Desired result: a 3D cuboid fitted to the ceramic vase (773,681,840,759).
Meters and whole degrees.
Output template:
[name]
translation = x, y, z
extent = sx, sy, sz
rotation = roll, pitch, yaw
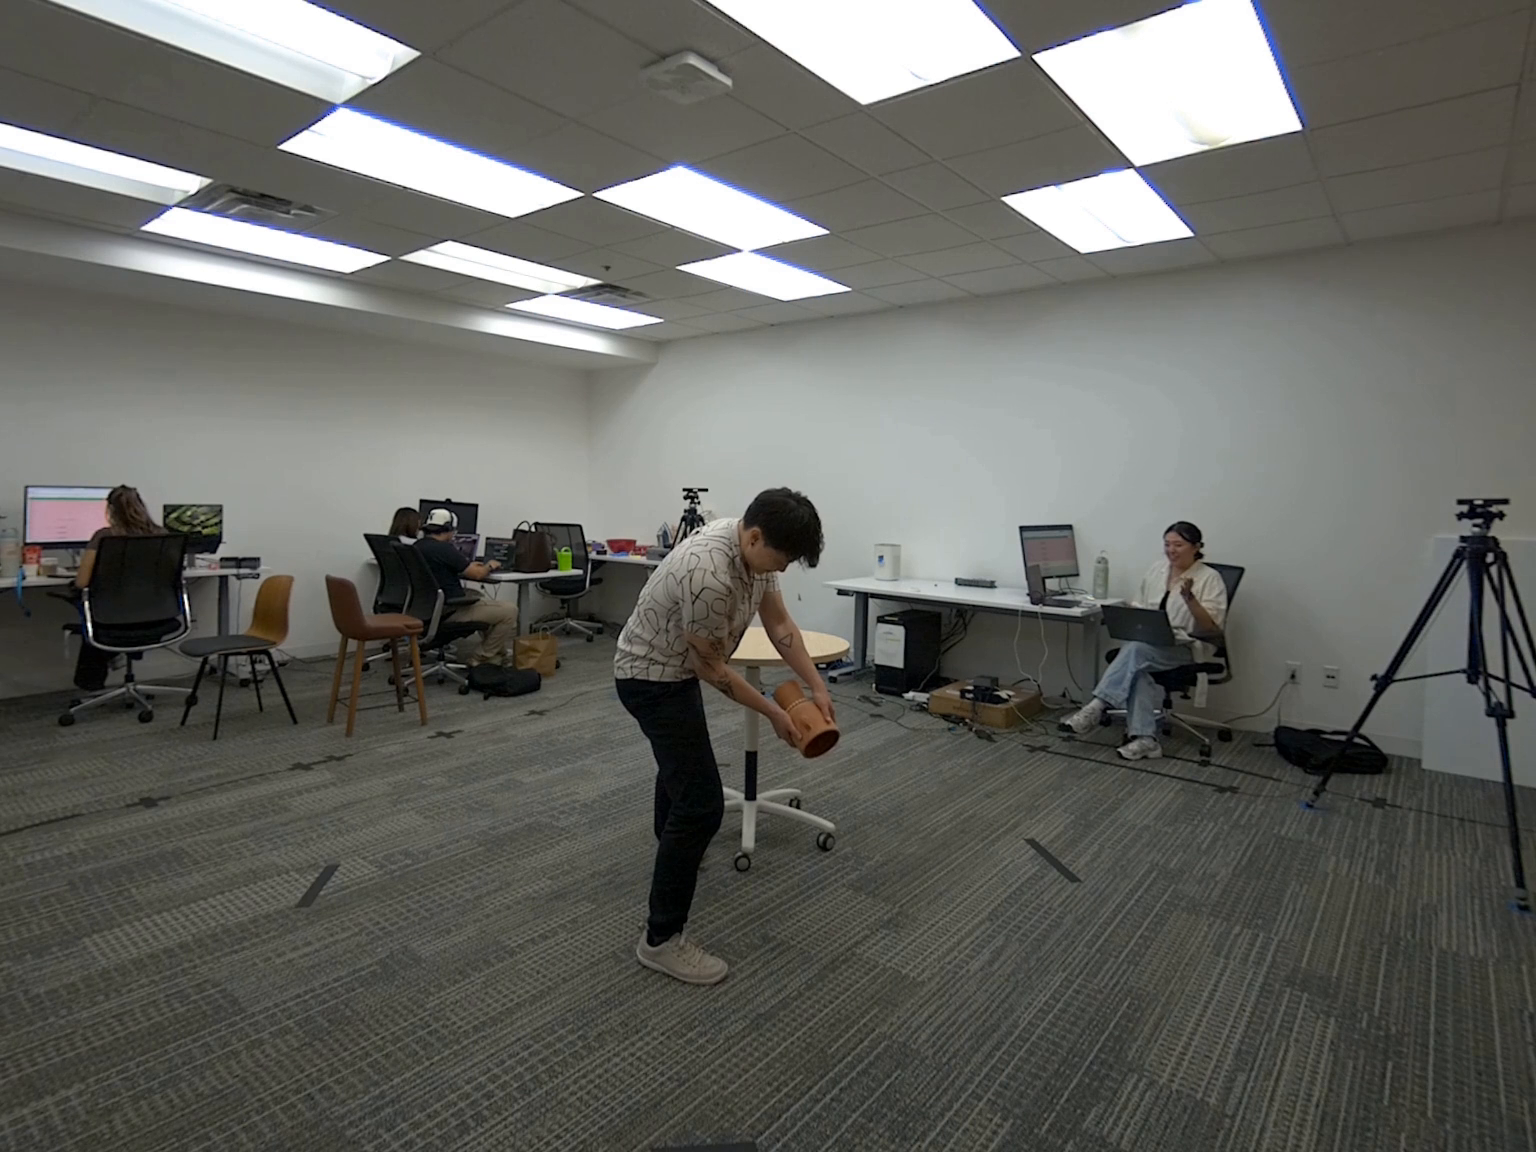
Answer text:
[ceramic vase]
translation = 0.100, 0.432, 2.600
extent = 0.131, 0.157, 0.229
rotation = -5, 43, -35
